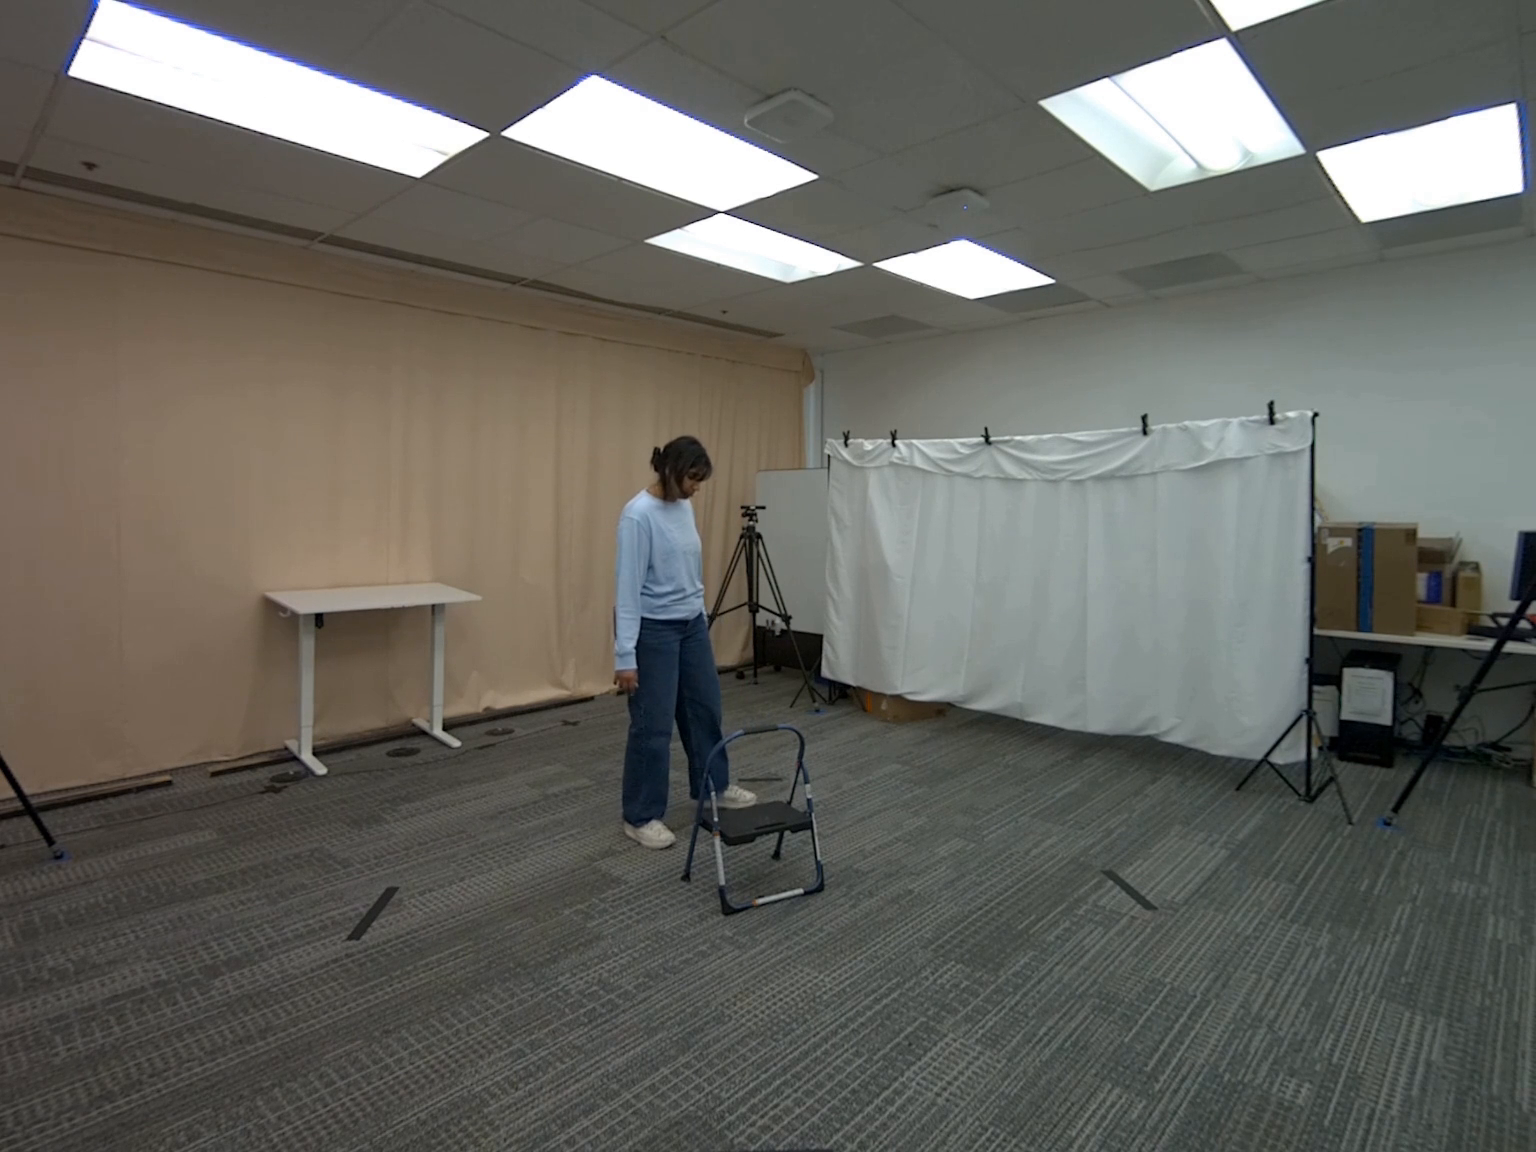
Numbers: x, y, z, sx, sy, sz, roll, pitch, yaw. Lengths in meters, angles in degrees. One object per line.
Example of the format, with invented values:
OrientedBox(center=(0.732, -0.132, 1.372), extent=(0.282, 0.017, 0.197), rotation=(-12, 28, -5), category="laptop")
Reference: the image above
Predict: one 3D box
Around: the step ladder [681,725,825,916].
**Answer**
OrientedBox(center=(-0.055, 0.833, 3.082), extent=(0.419, 0.605, 0.359), rotation=(-2, 4, -30), category="step ladder")
